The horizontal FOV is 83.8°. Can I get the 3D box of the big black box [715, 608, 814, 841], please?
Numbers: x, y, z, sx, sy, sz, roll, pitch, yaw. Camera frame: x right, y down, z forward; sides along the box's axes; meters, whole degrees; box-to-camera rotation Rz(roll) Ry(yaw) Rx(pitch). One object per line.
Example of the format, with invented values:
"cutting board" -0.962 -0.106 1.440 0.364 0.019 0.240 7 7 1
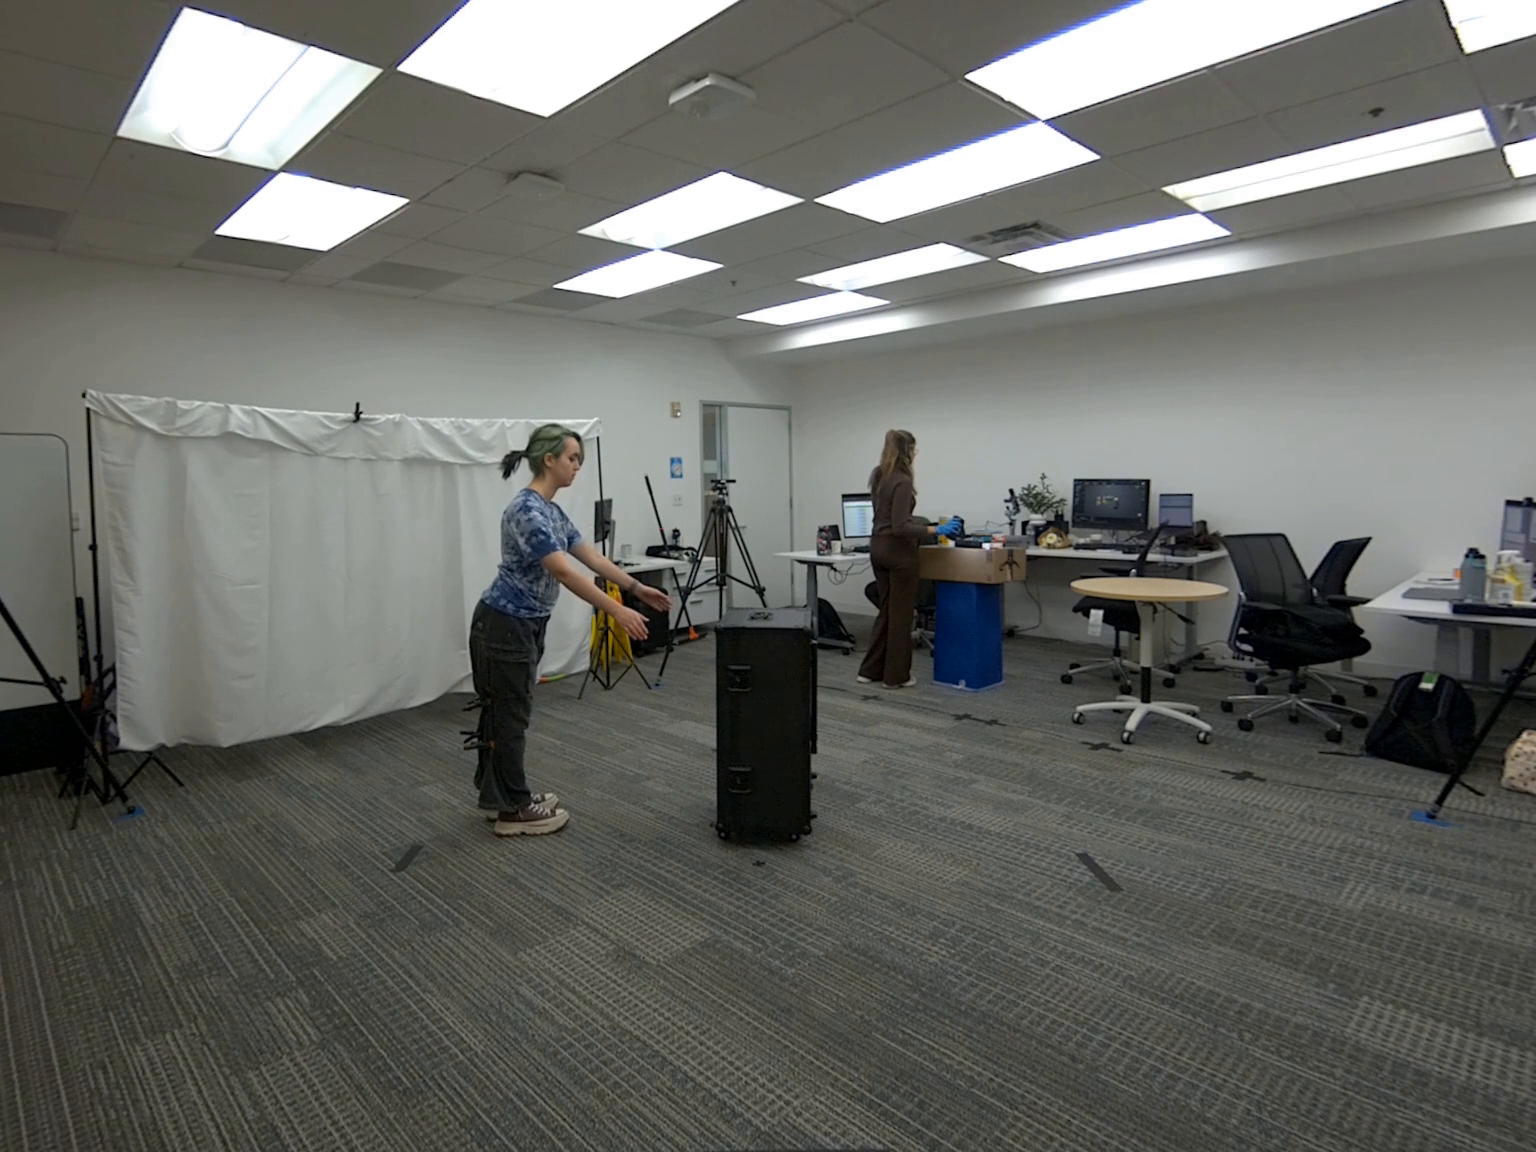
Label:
"big black box" -0.001 0.587 3.426 0.399 0.858 0.520 1 4 5
